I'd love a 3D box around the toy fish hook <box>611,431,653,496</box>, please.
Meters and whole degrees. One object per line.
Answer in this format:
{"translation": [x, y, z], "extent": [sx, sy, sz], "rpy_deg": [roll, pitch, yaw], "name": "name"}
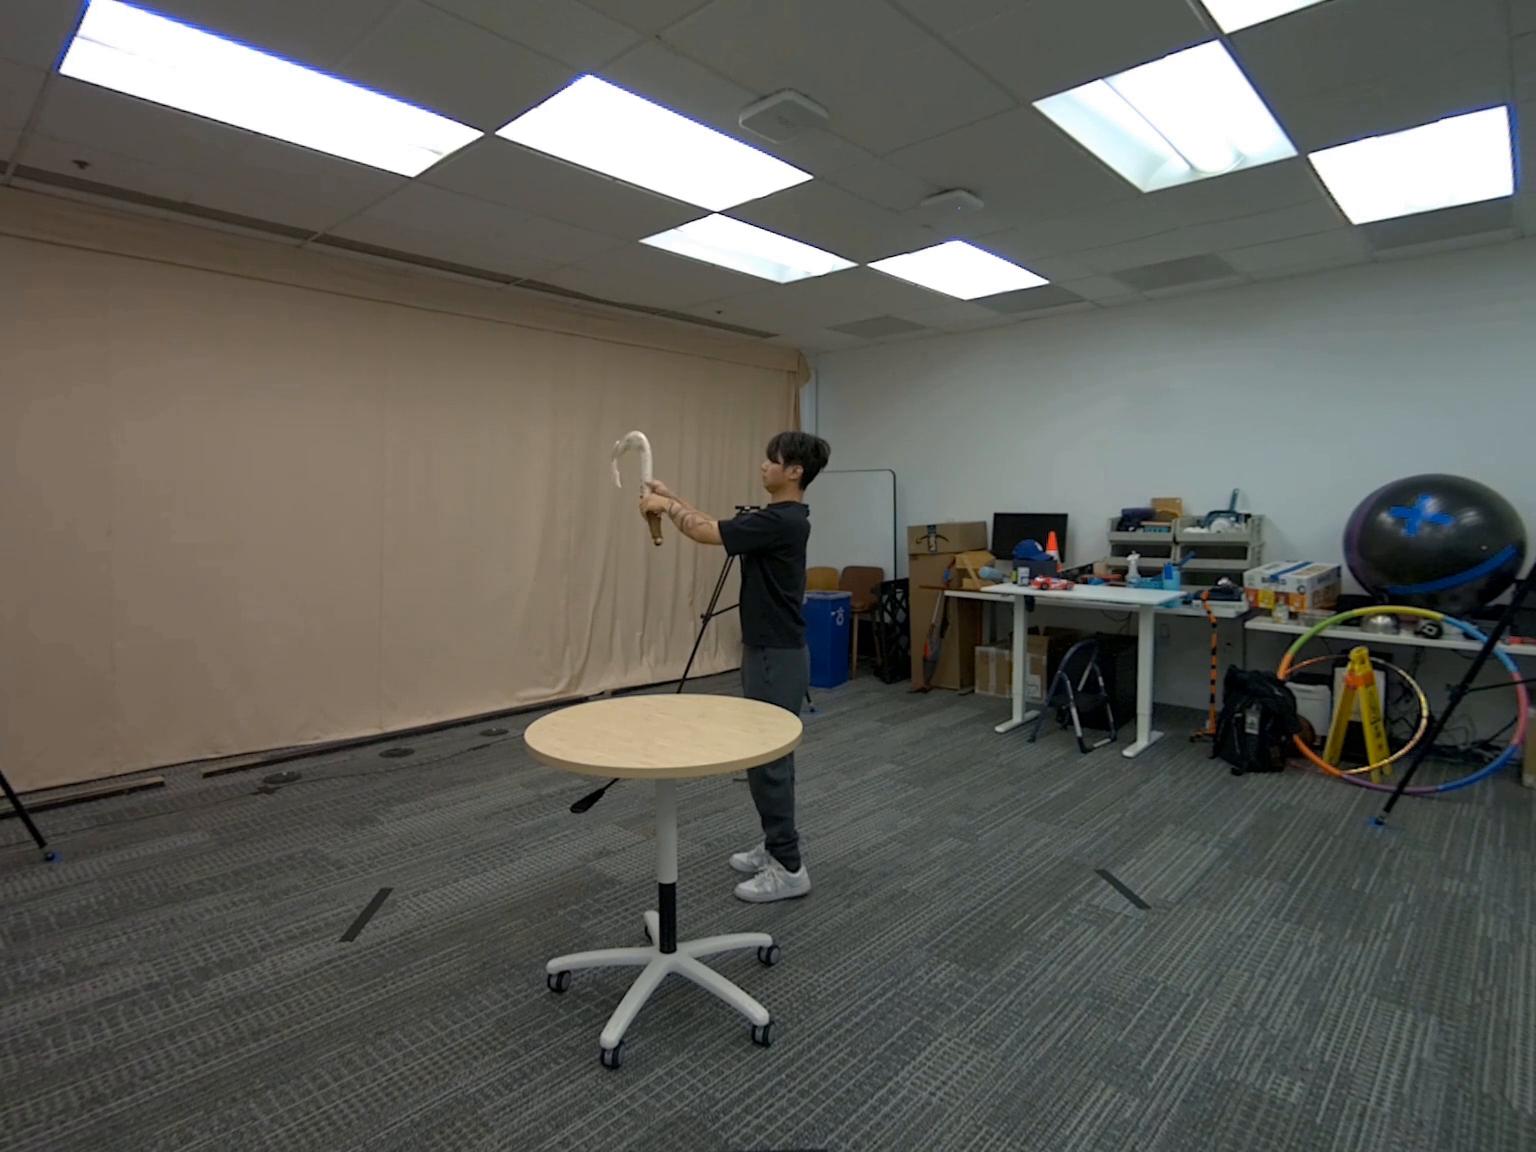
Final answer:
{"translation": [-0.507, -0.334, 3.306], "extent": [0.228, 0.515, 0.047], "rpy_deg": [-31, -25, 37], "name": "toy fish hook"}
